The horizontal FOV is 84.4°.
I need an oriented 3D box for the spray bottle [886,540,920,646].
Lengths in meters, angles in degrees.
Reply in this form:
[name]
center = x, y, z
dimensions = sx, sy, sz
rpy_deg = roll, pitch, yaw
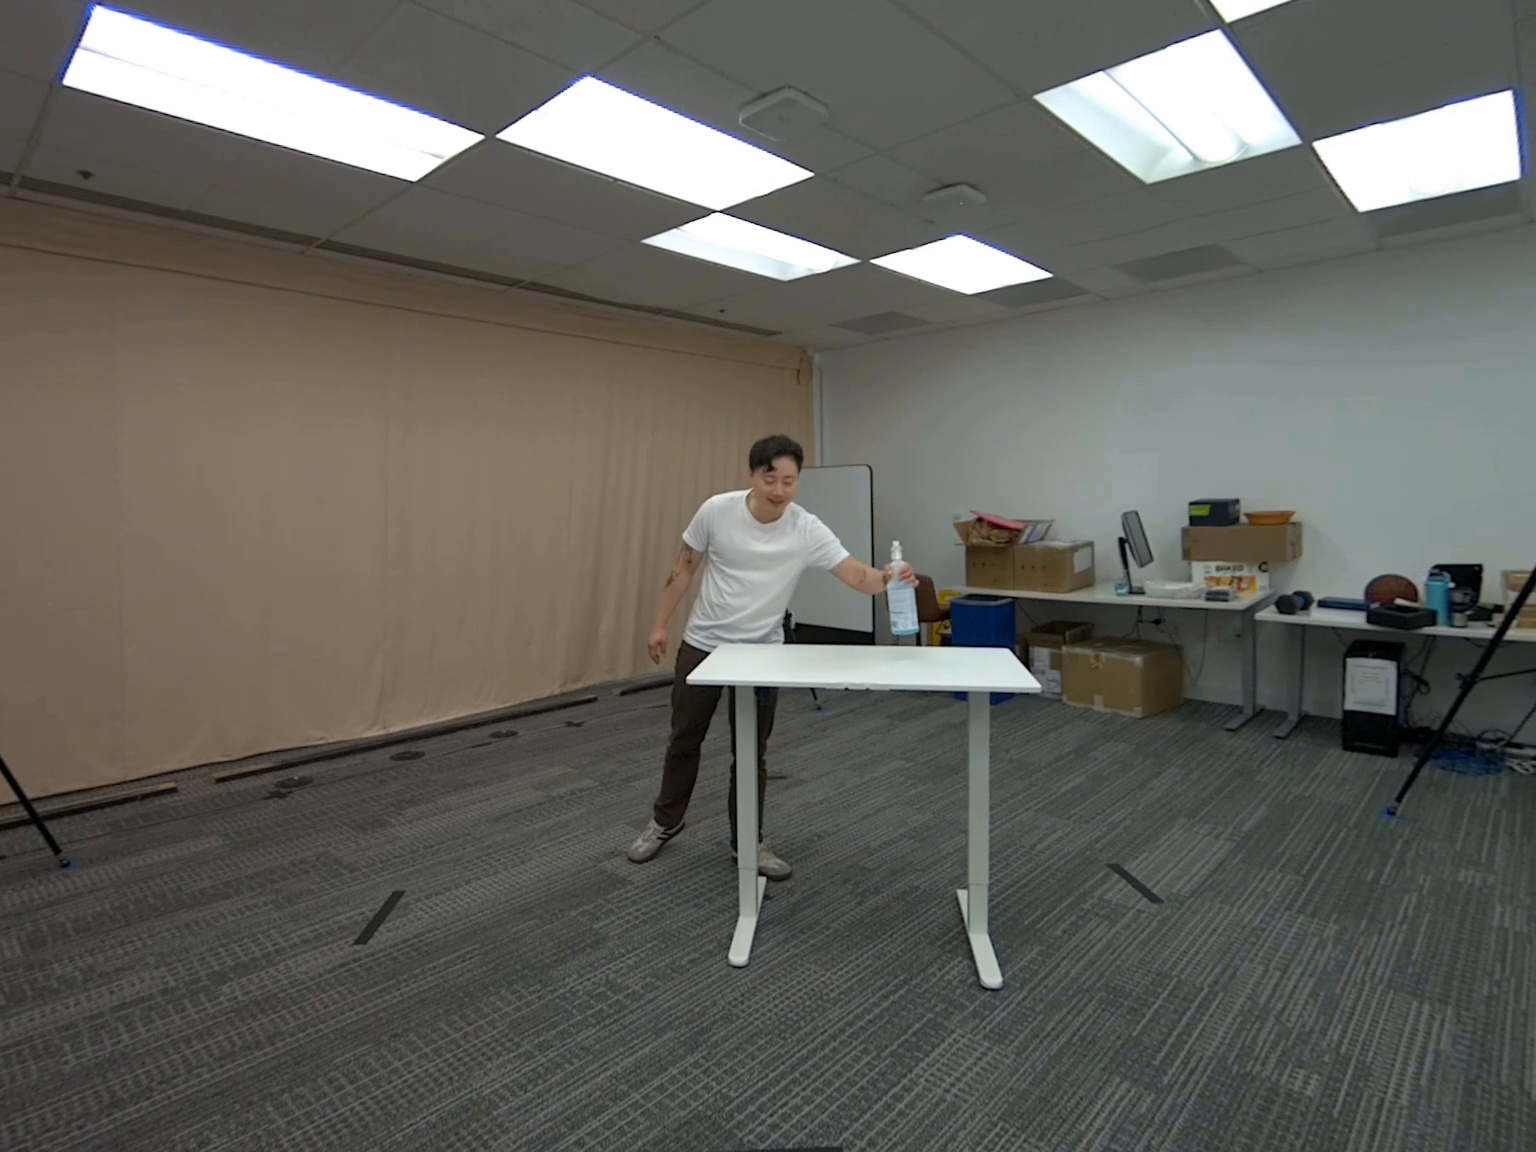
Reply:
[spray bottle]
center = 0.422, 0.039, 2.690
dimensions = 0.089, 0.296, 0.088
rpy_deg = -5, 5, 31
